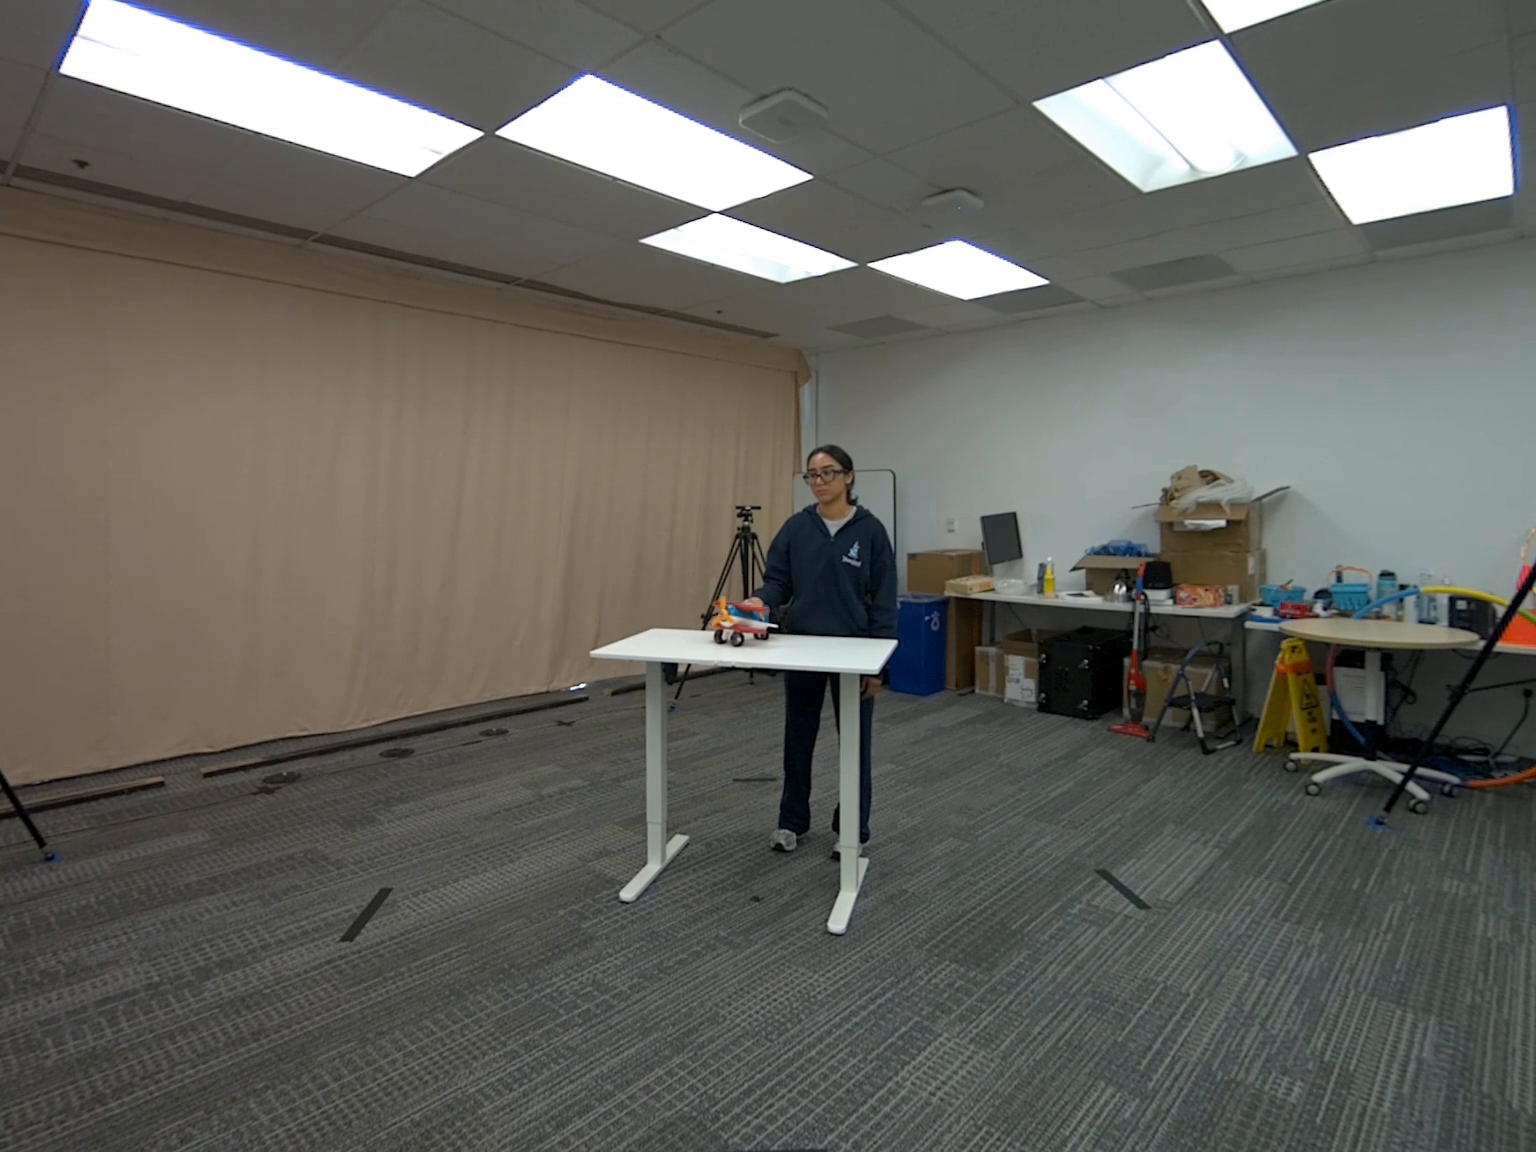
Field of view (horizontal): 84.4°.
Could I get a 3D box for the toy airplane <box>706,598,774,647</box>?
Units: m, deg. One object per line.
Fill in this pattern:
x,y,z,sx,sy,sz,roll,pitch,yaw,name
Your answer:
-0.089,0.173,3.157,0.255,0.156,0.255,1,6,16,toy airplane
